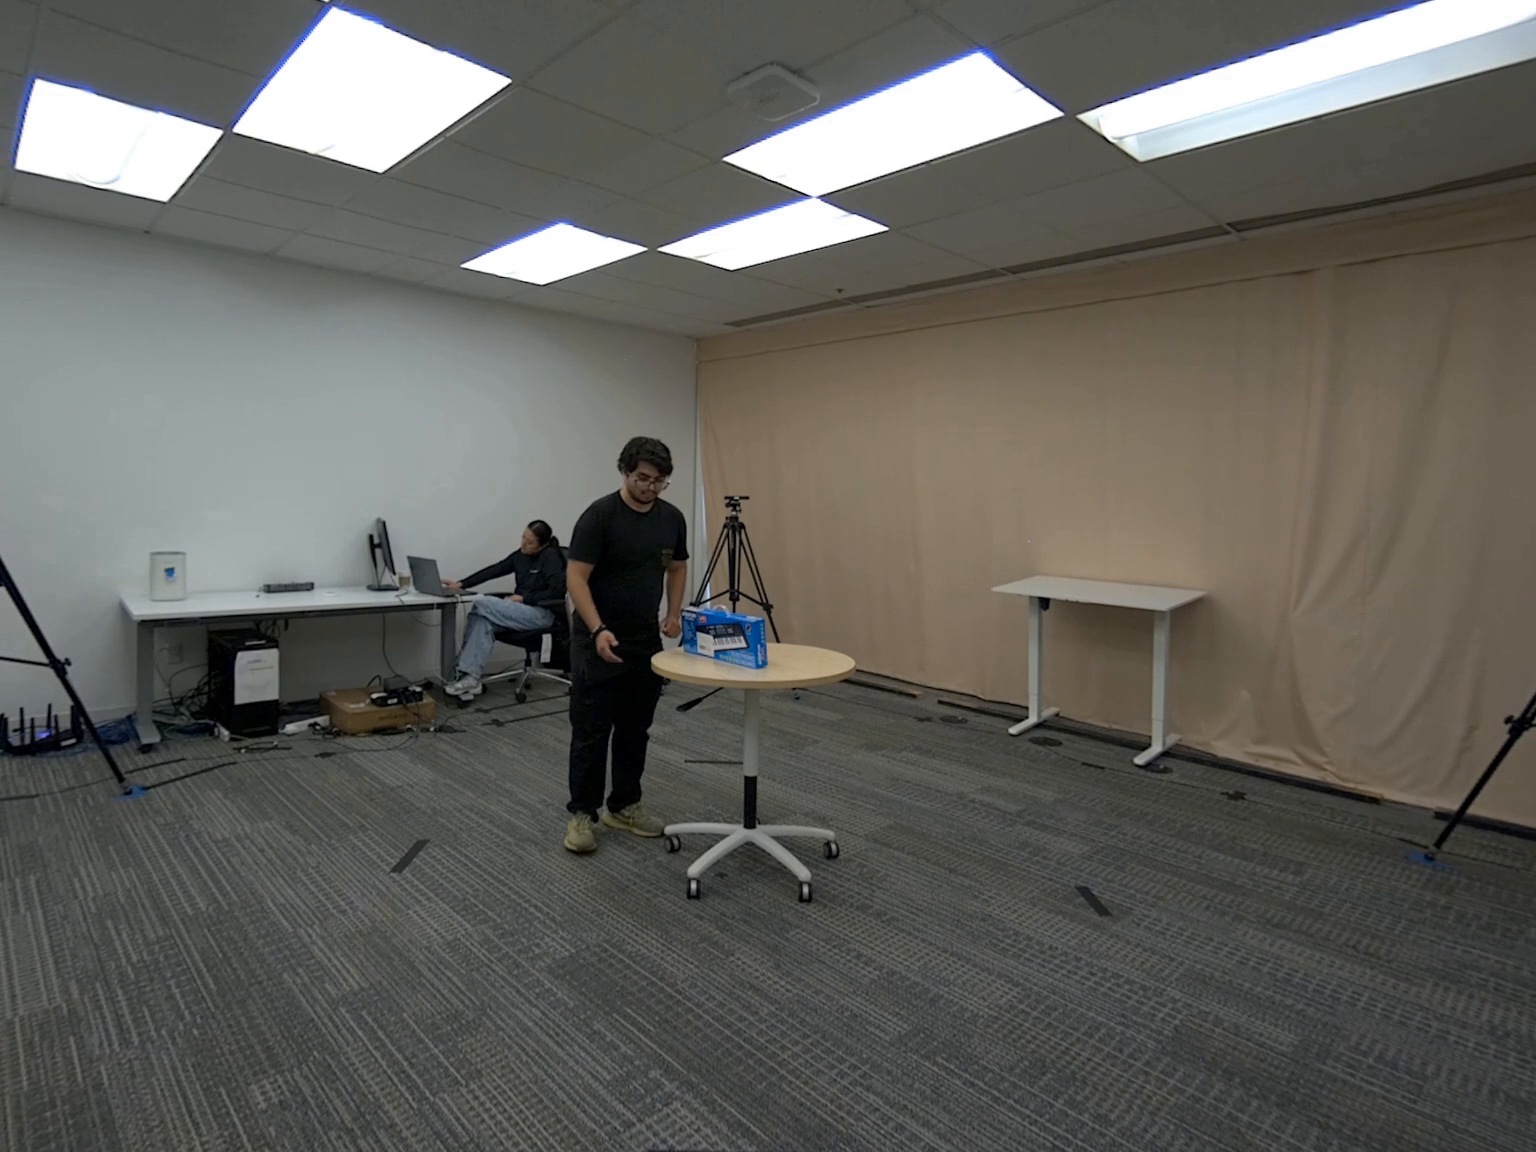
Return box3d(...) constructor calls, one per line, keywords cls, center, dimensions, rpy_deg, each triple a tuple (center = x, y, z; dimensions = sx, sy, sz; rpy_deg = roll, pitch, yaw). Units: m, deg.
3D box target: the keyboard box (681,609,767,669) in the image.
box3d(cls="keyboard box", center=(-0.177, 0.229, 3.164), dimensions=(0.058, 0.175, 0.448), rpy_deg=(-8, 9, -40))
